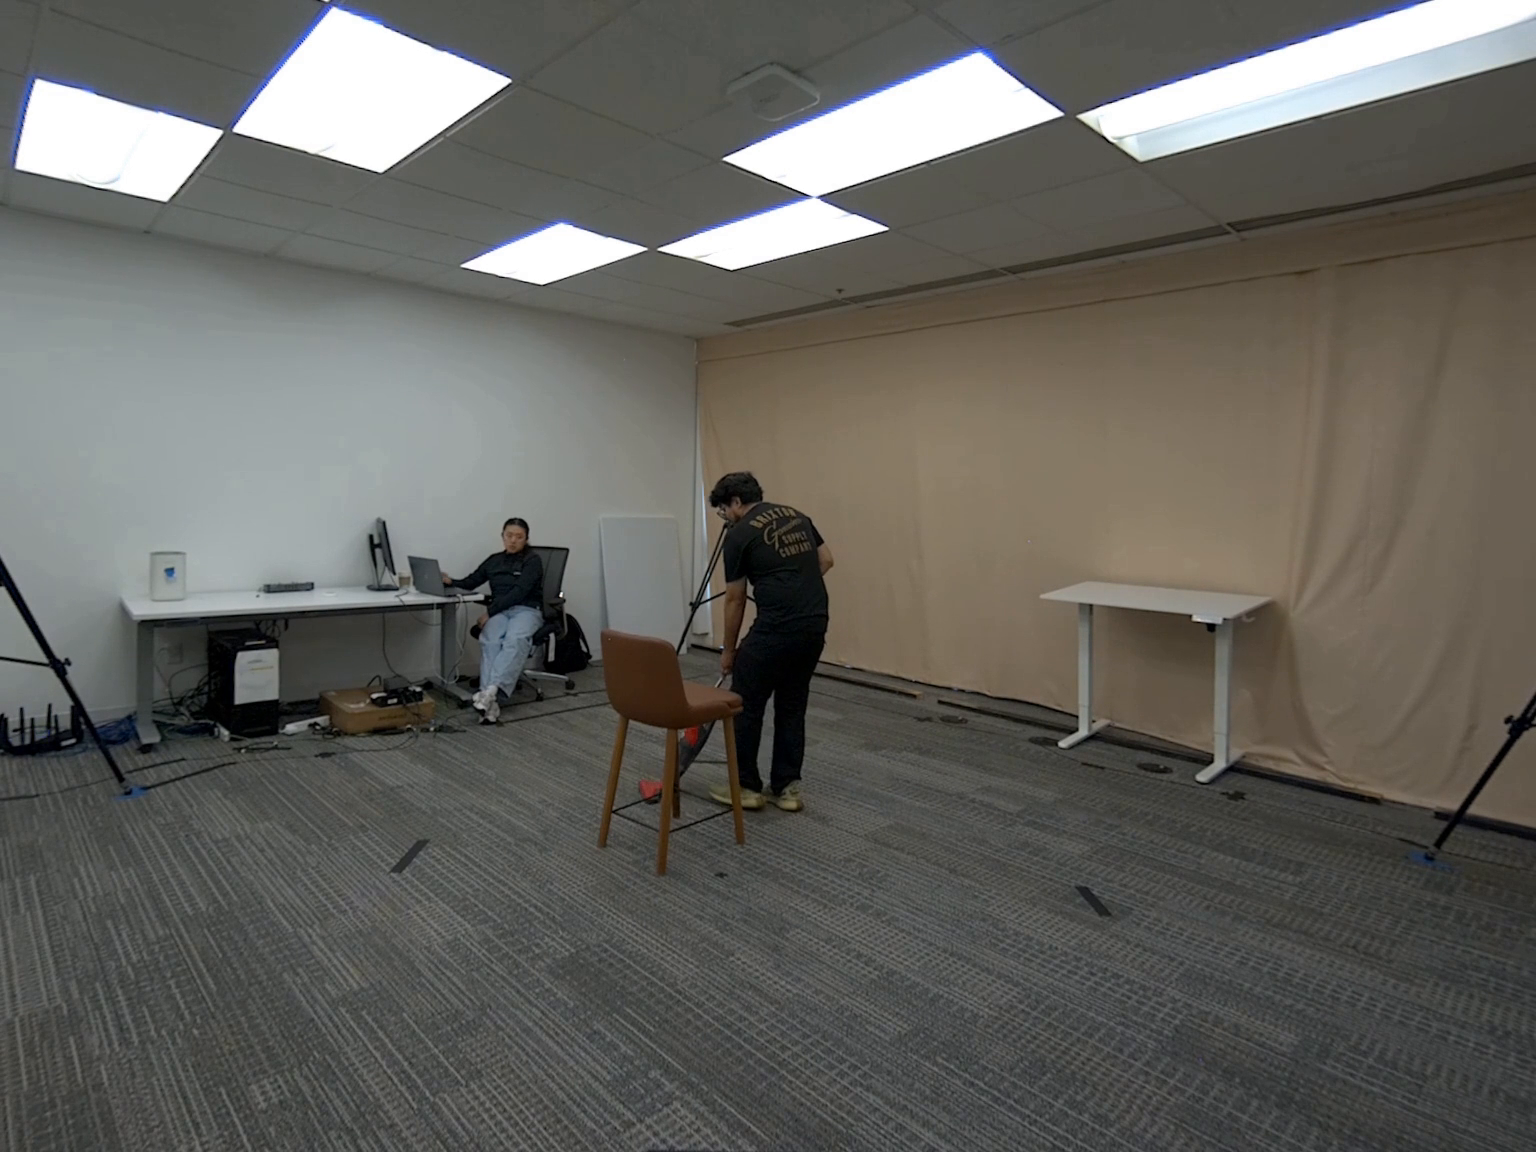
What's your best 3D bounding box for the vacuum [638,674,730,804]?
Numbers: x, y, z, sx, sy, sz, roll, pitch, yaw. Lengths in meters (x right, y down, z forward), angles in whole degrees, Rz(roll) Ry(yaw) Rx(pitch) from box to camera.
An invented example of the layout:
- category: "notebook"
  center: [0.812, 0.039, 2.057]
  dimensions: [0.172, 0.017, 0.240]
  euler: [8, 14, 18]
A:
- category: "vacuum"
  center: [-0.251, 0.570, 3.973]
  dimensions: [0.141, 1.050, 0.257]
  euler: [34, -5, -20]
